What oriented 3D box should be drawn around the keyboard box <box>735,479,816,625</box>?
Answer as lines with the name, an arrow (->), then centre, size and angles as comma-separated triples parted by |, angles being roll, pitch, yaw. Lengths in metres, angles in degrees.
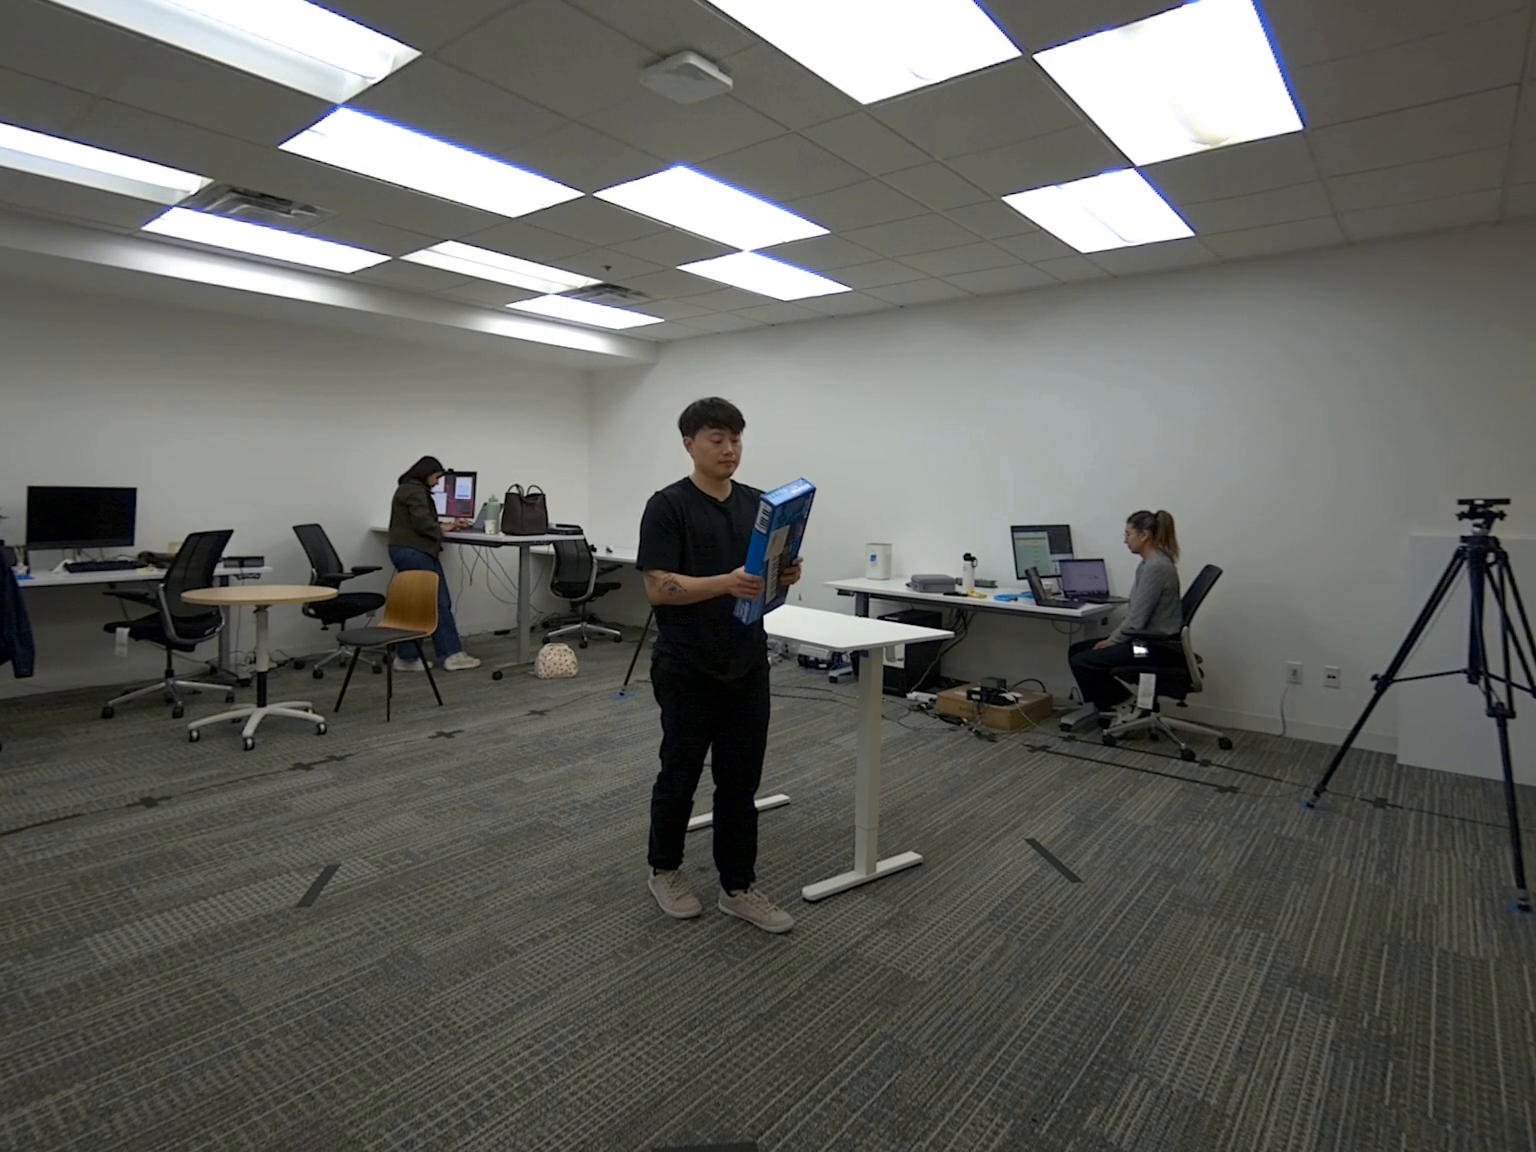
keyboard box -> 0.005, -0.067, 2.447 | 0.061, 0.427, 0.173 | 37, 43, 28
